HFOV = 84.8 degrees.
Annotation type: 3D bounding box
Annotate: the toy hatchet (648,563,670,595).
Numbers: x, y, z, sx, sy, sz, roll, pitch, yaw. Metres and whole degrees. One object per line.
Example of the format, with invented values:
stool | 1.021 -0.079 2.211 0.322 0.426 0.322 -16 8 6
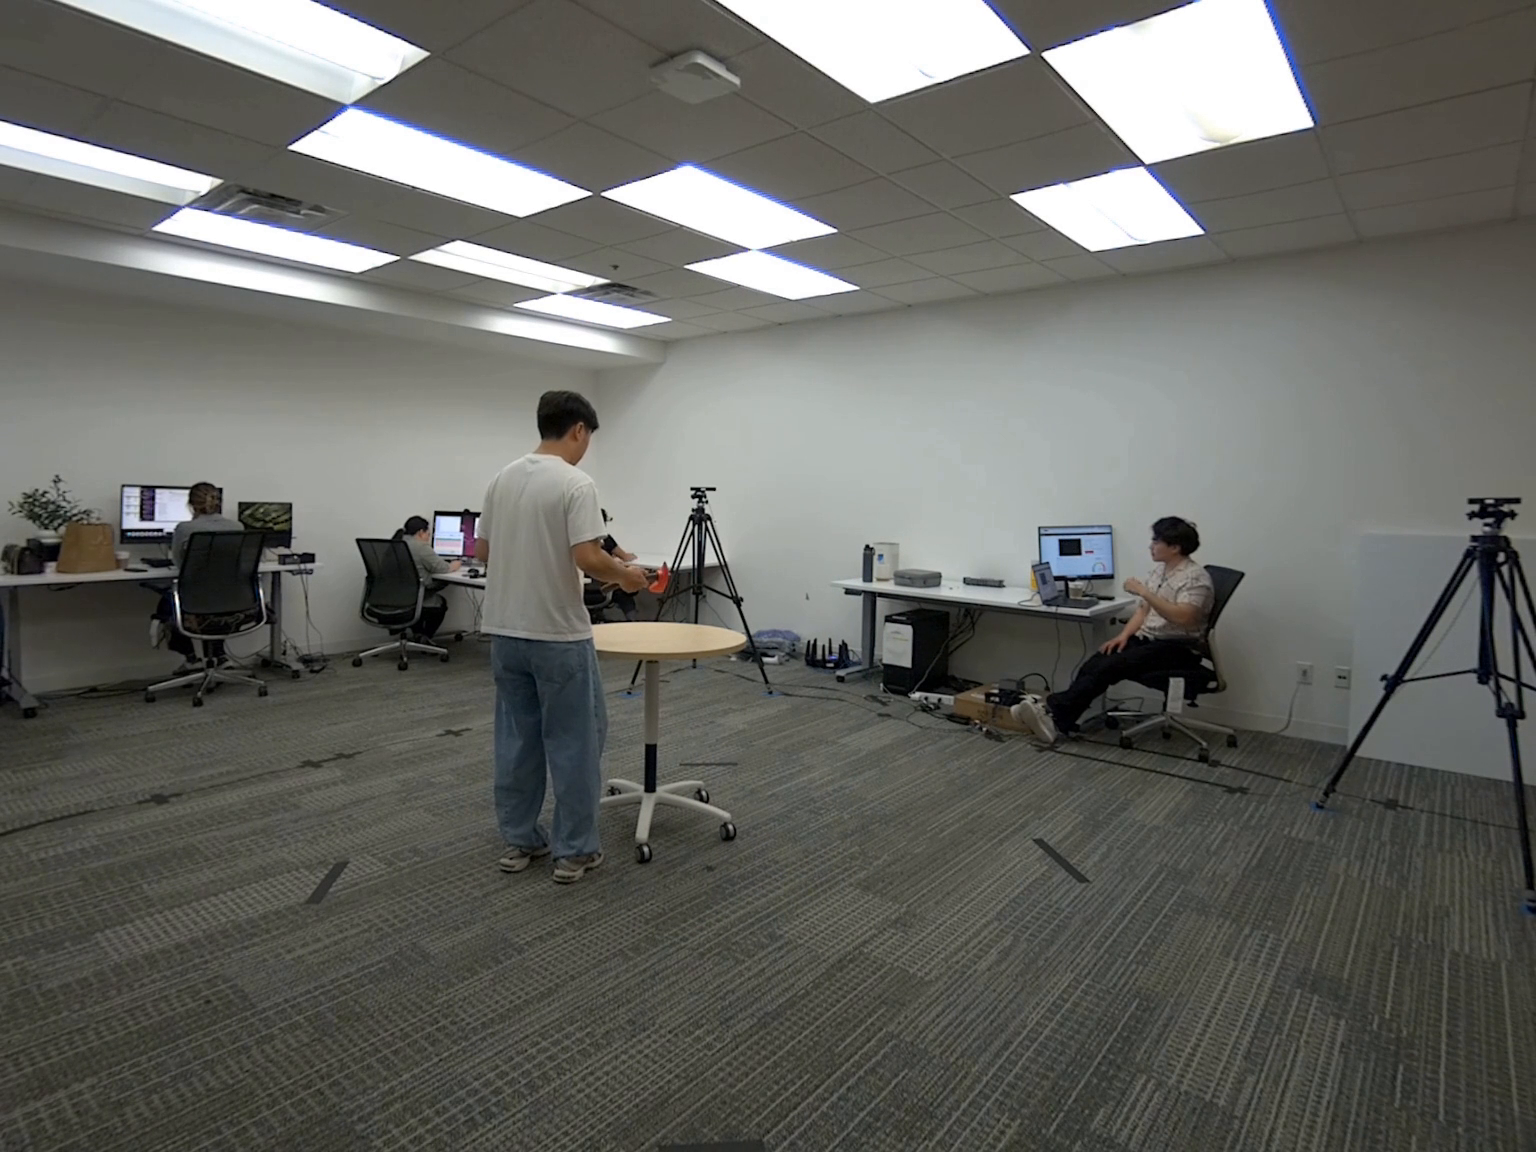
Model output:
toy hatchet | -0.520 0.015 3.210 0.268 0.127 0.031 -21 34 -14
